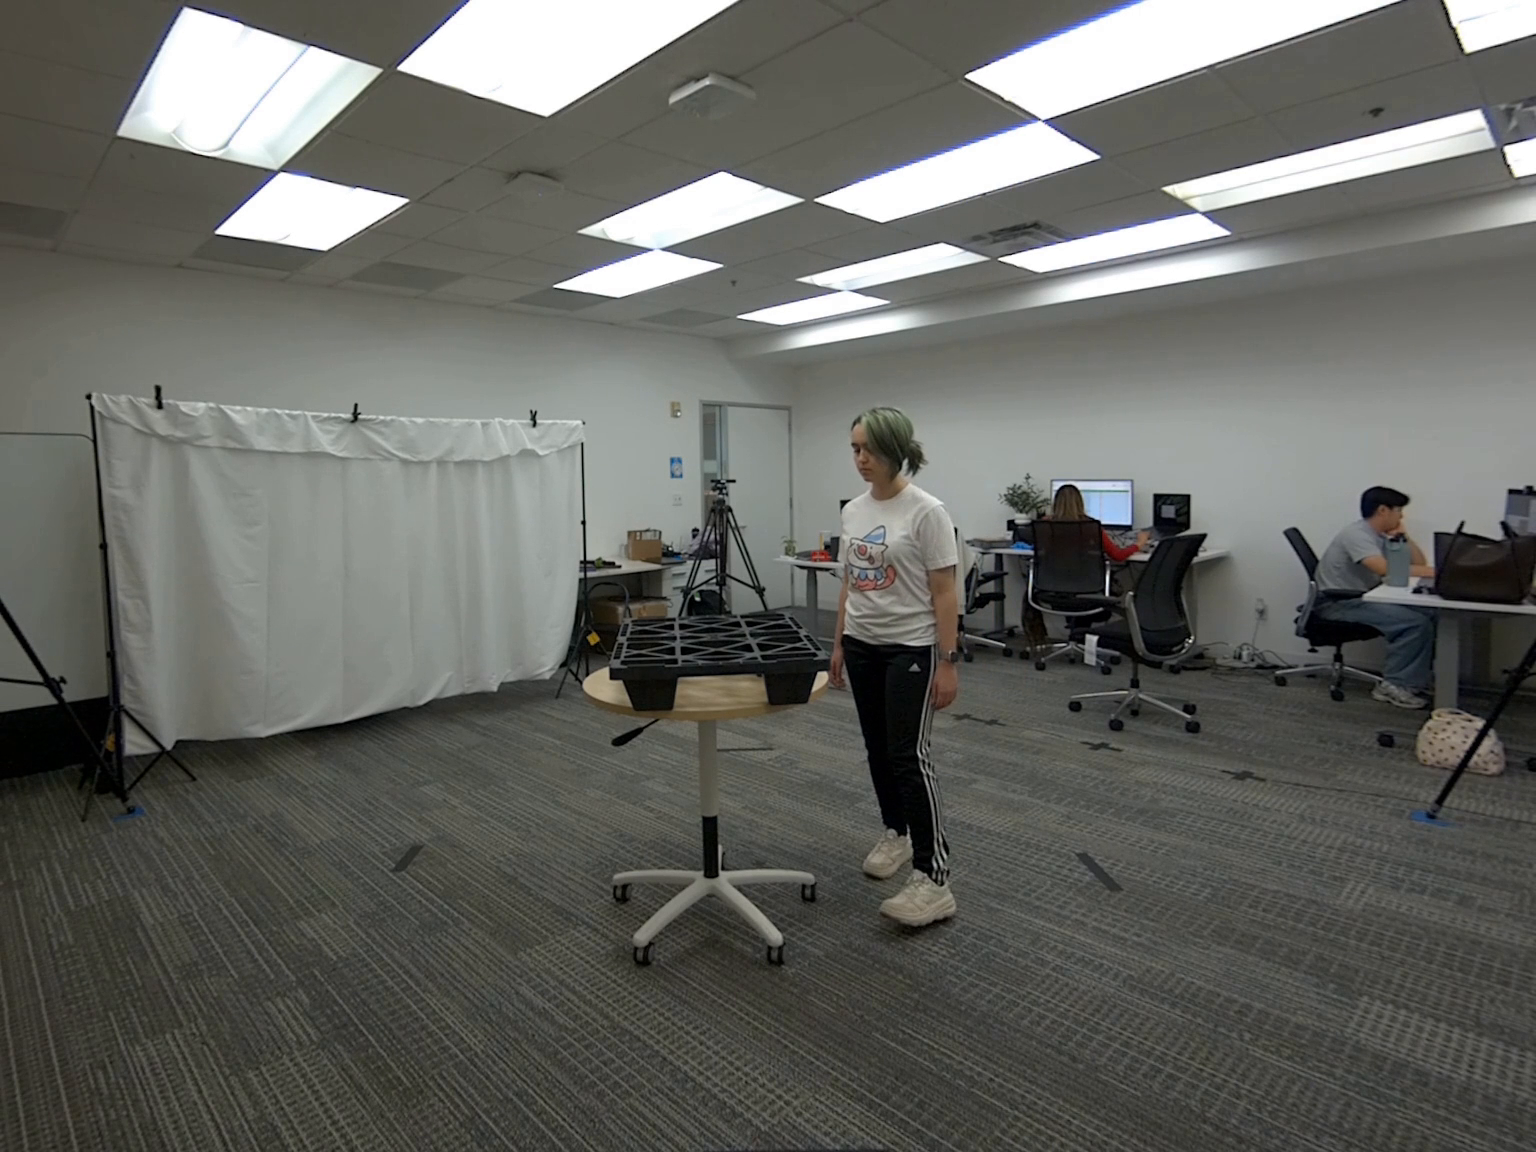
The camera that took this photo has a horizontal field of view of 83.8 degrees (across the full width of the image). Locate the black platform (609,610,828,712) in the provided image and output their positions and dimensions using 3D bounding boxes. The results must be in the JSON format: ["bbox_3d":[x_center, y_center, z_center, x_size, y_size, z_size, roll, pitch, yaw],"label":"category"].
[{"bbox_3d":[-0.169,0.250,2.669,0.603,0.142,0.813,-3,7,-5],"label":"black platform"}]
